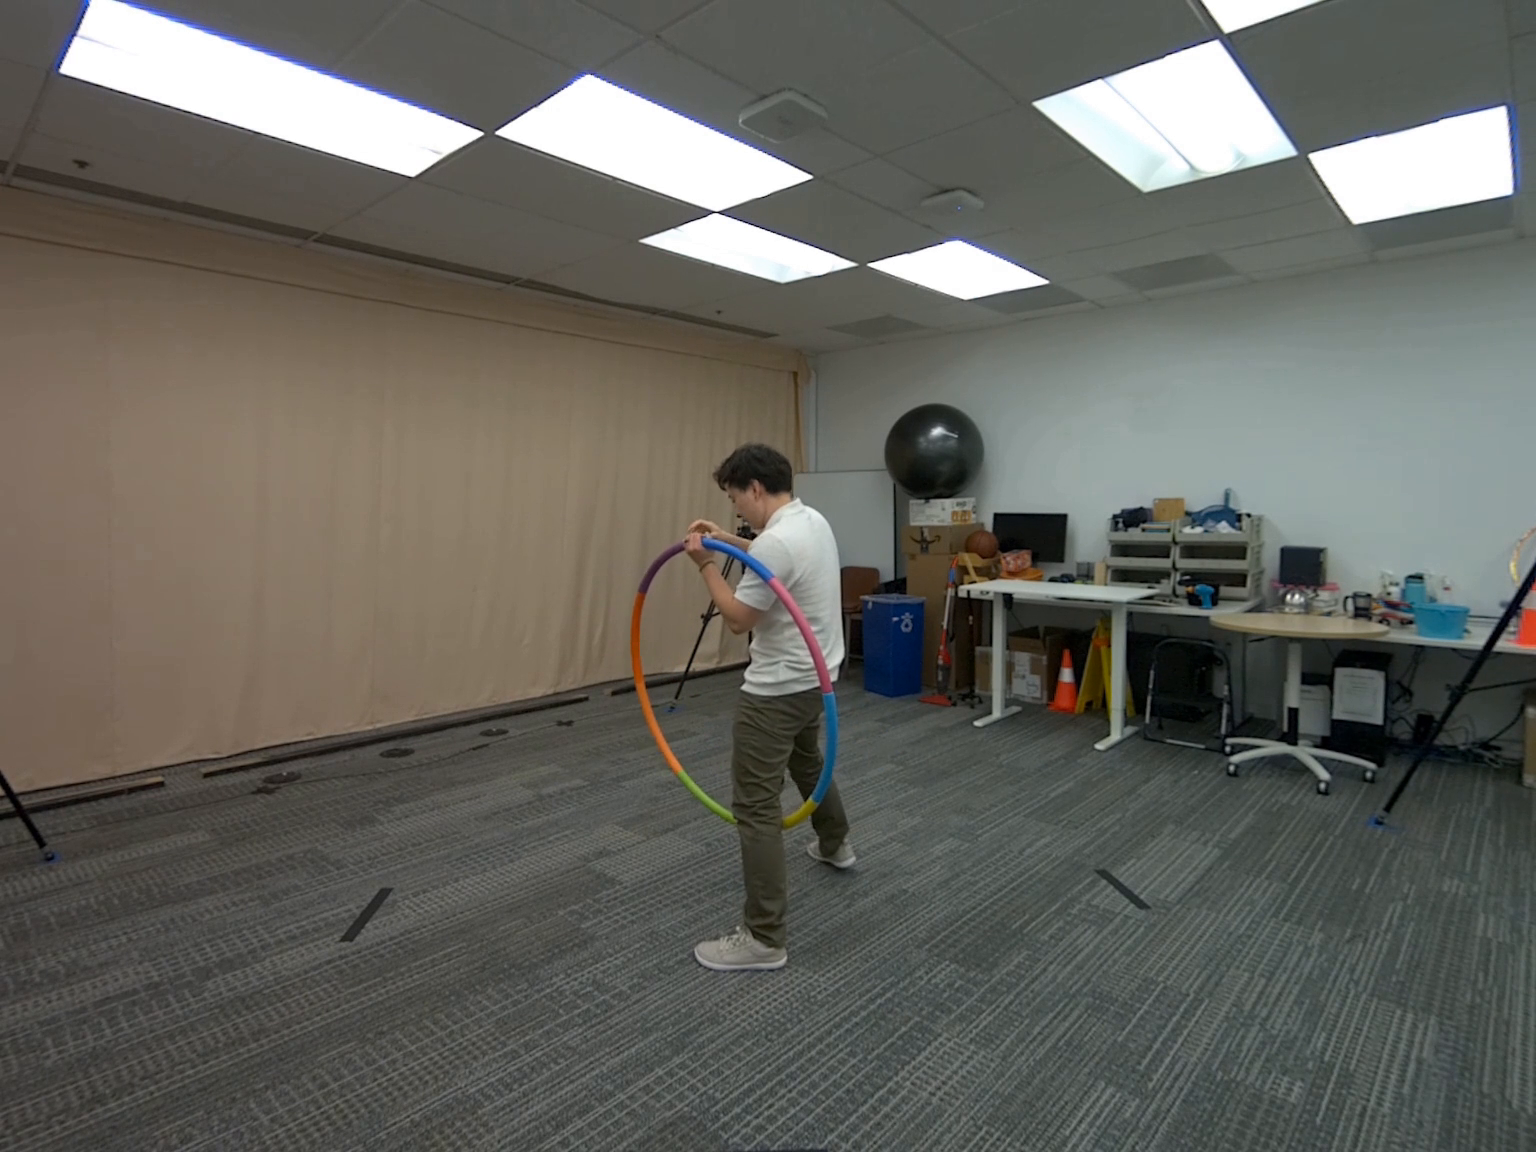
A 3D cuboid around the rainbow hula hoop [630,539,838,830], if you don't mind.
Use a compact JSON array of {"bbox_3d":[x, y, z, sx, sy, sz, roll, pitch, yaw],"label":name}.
[{"bbox_3d":[-0.149,0.358,2.786,0.034,0.971,1.011,-15,13,-42],"label":"rainbow hula hoop"}]
